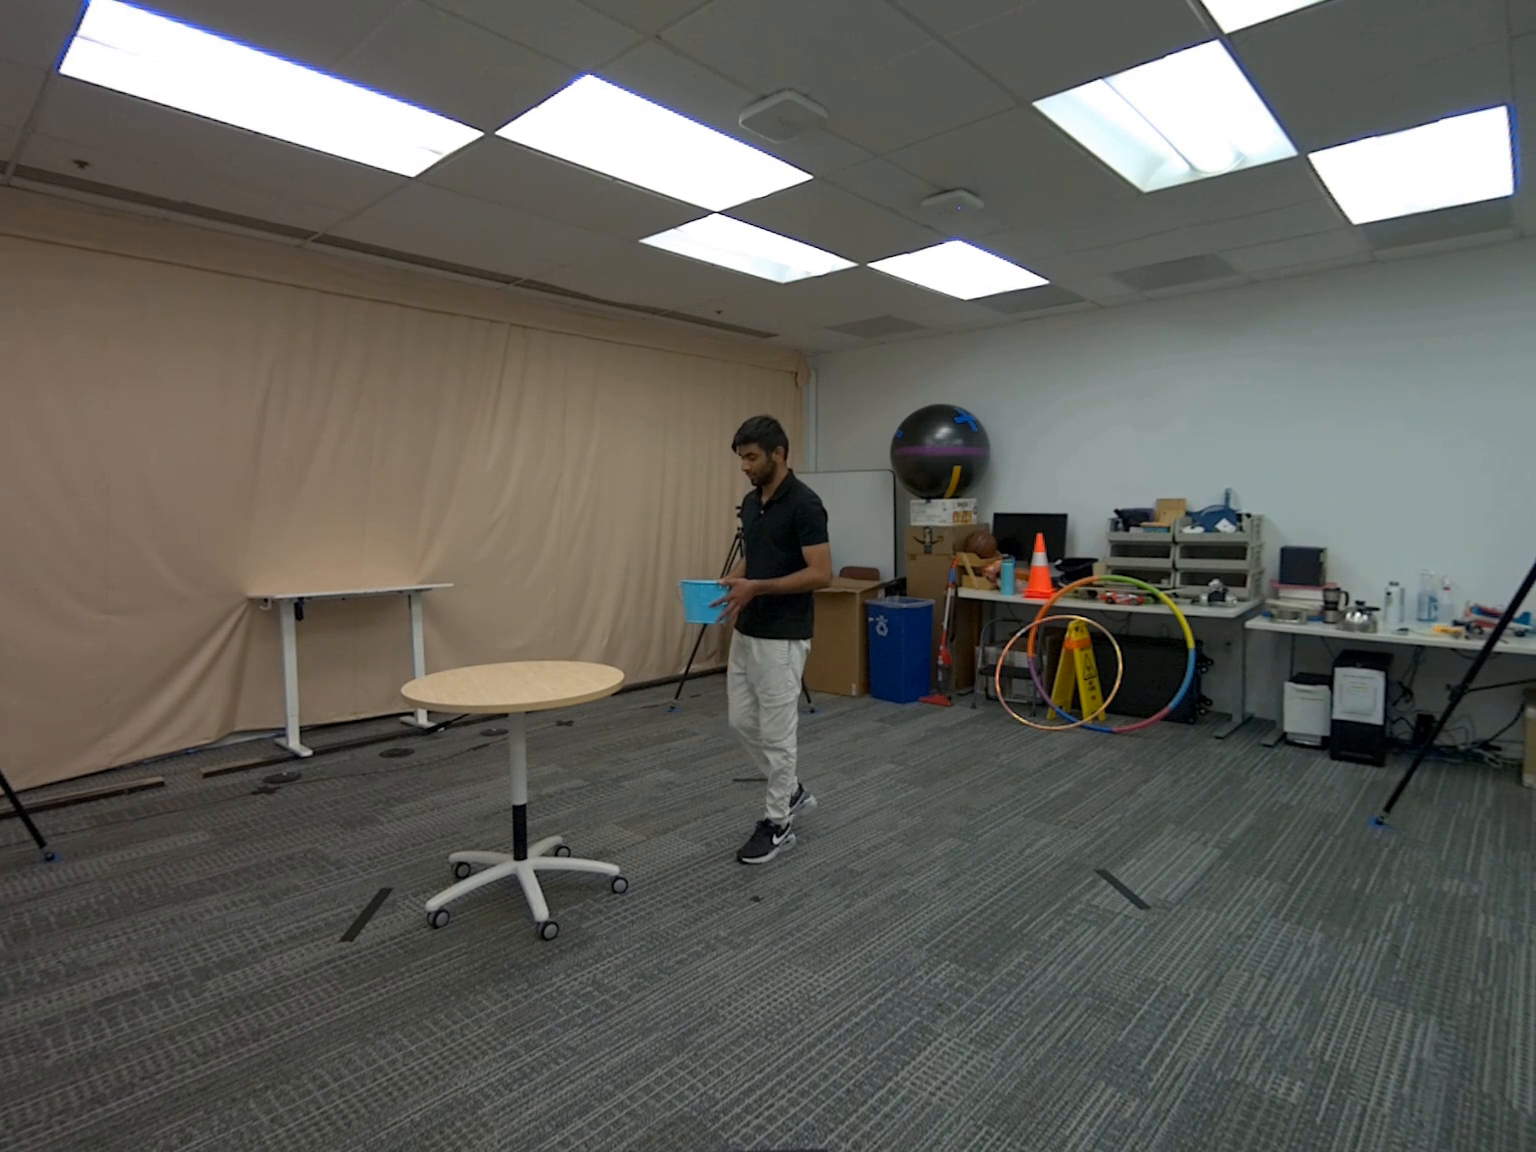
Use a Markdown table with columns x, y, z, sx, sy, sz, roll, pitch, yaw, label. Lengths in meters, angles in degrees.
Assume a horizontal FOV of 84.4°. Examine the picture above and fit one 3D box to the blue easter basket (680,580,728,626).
| x | y | z | sx | sy | sz | roll | pitch | yaw | label |
| --- | --- | --- | --- | --- | --- | --- | --- | --- | --- |
| -0.222 | 0.099 | 3.244 | 0.243 | 0.156 | 0.244 | 1 | 2 | -2 | blue easter basket |
